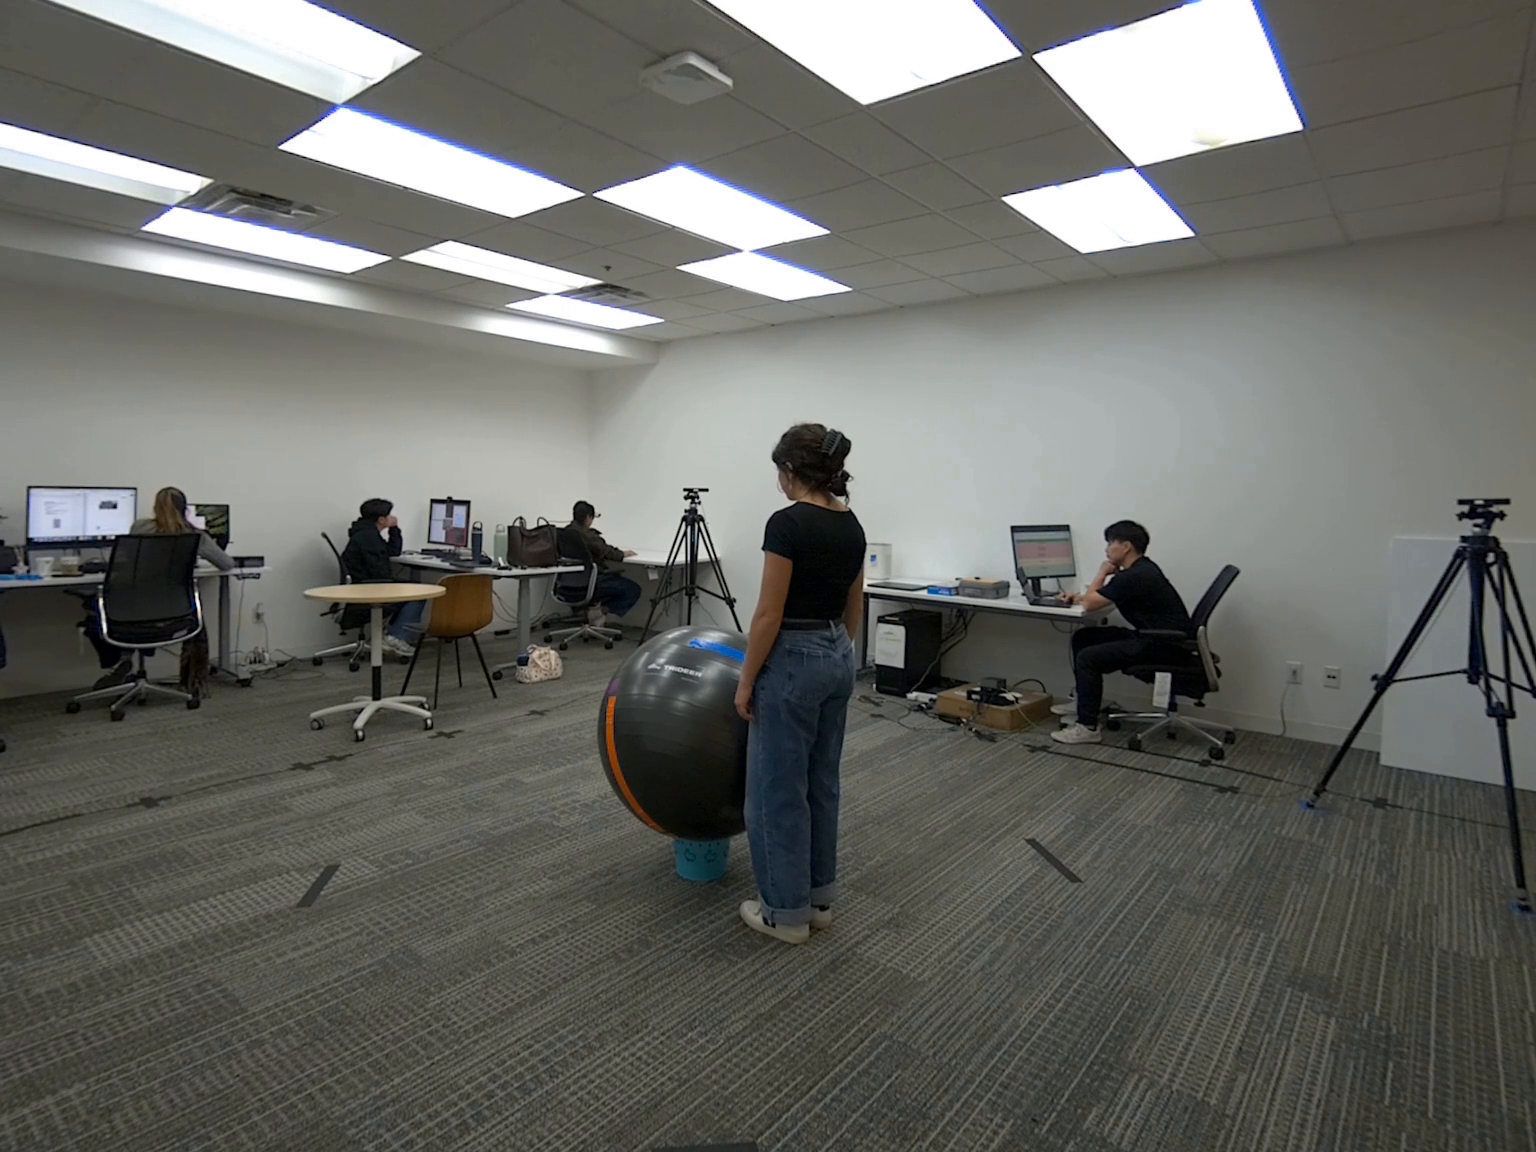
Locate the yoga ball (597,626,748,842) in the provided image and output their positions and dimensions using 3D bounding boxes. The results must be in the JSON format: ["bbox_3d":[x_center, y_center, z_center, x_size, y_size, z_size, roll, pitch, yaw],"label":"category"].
[{"bbox_3d":[-0.248,0.559,3.088,0.757,0.756,0.762,1,4,-2],"label":"yoga ball"}]
